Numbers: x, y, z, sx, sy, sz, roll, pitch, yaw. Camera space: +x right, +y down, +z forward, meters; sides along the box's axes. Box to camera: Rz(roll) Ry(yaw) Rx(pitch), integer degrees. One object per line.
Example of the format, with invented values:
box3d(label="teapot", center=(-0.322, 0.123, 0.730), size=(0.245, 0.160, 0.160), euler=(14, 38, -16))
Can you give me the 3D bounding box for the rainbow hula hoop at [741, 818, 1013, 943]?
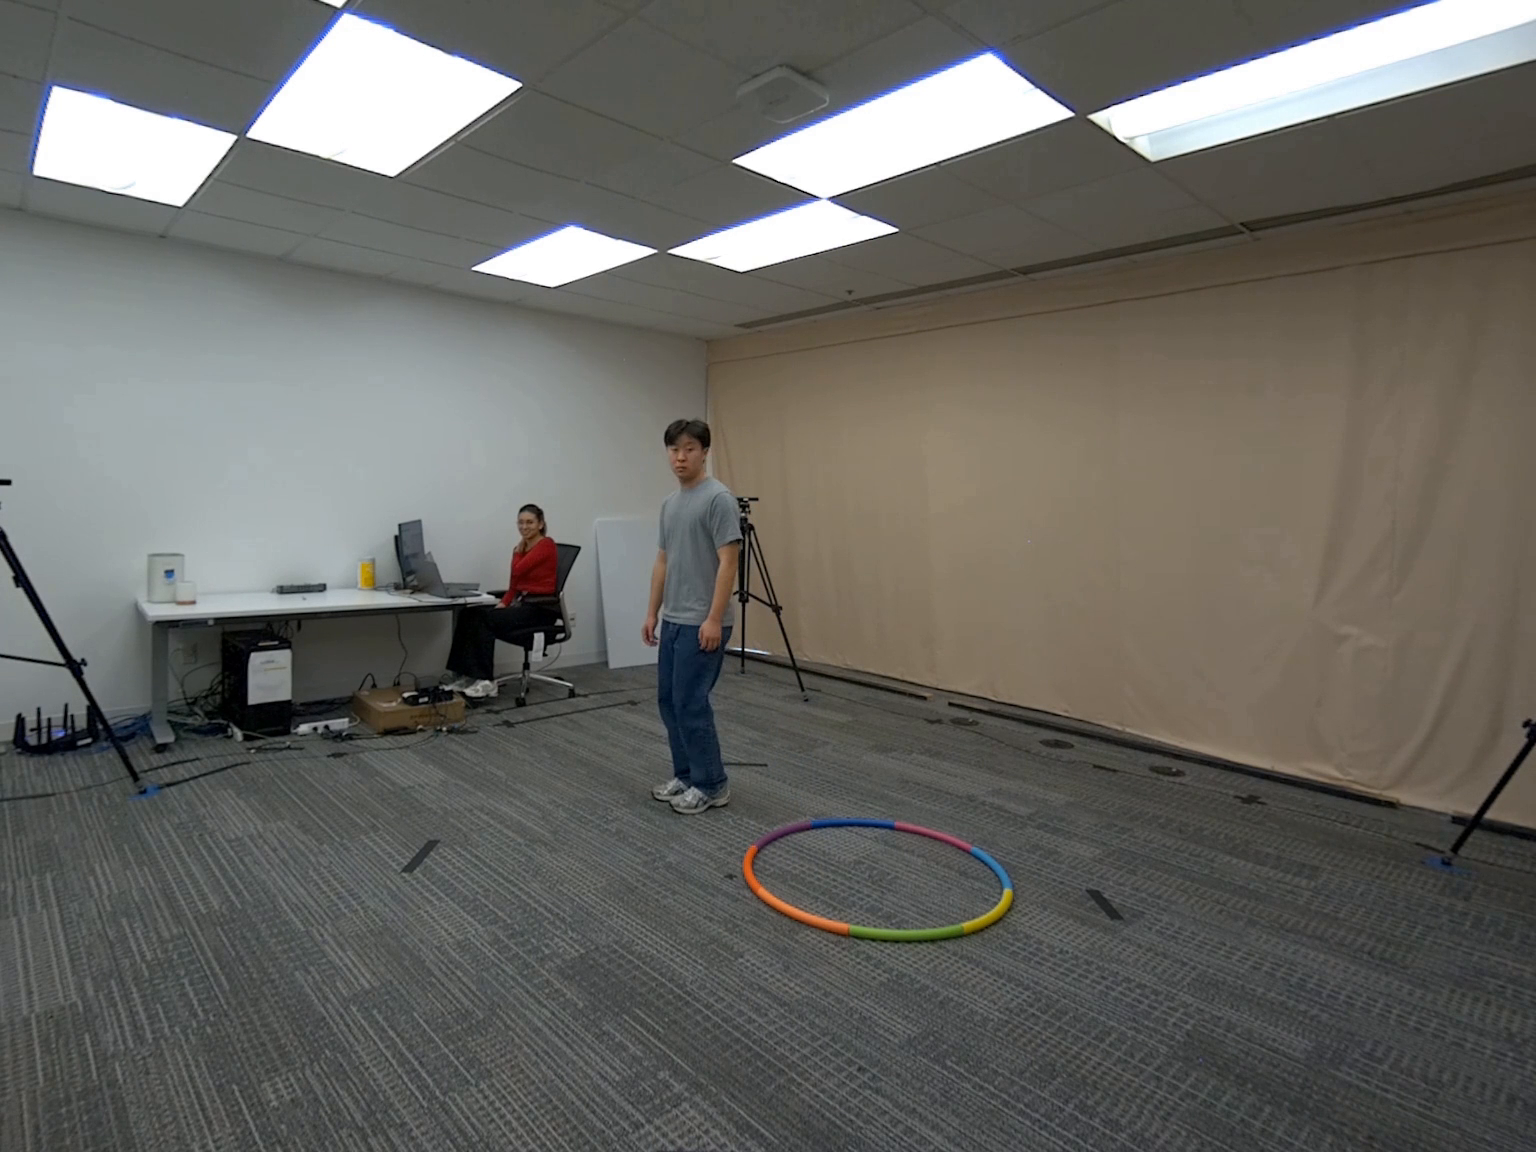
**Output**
box3d(label="rainbow hula hoop", center=(0.378, 1.083, 3.152), size=(0.978, 0.035, 0.982), euler=(1, 5, -1))
